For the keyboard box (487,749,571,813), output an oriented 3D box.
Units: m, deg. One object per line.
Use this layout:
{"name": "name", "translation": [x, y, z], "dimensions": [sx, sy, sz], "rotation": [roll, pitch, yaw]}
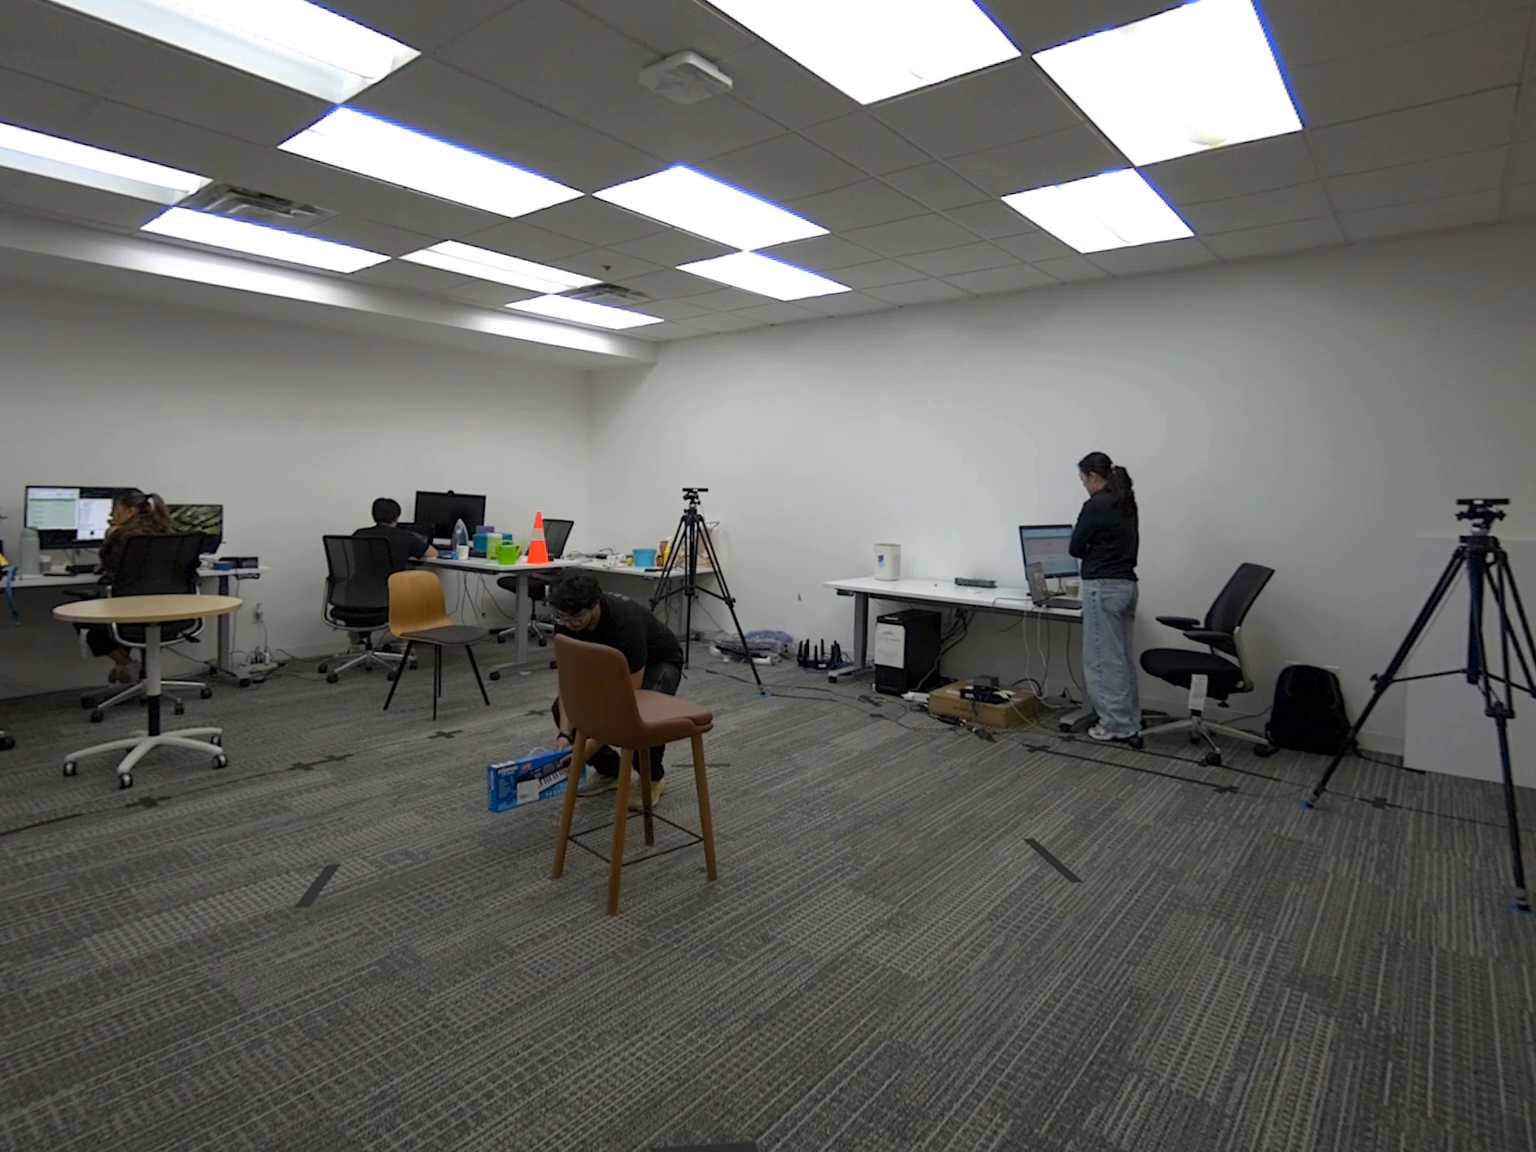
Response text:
{"name": "keyboard box", "translation": [-0.945, 0.814, 3.439], "dimensions": [0.061, 0.176, 0.423], "rotation": [-4, 0, 41]}
